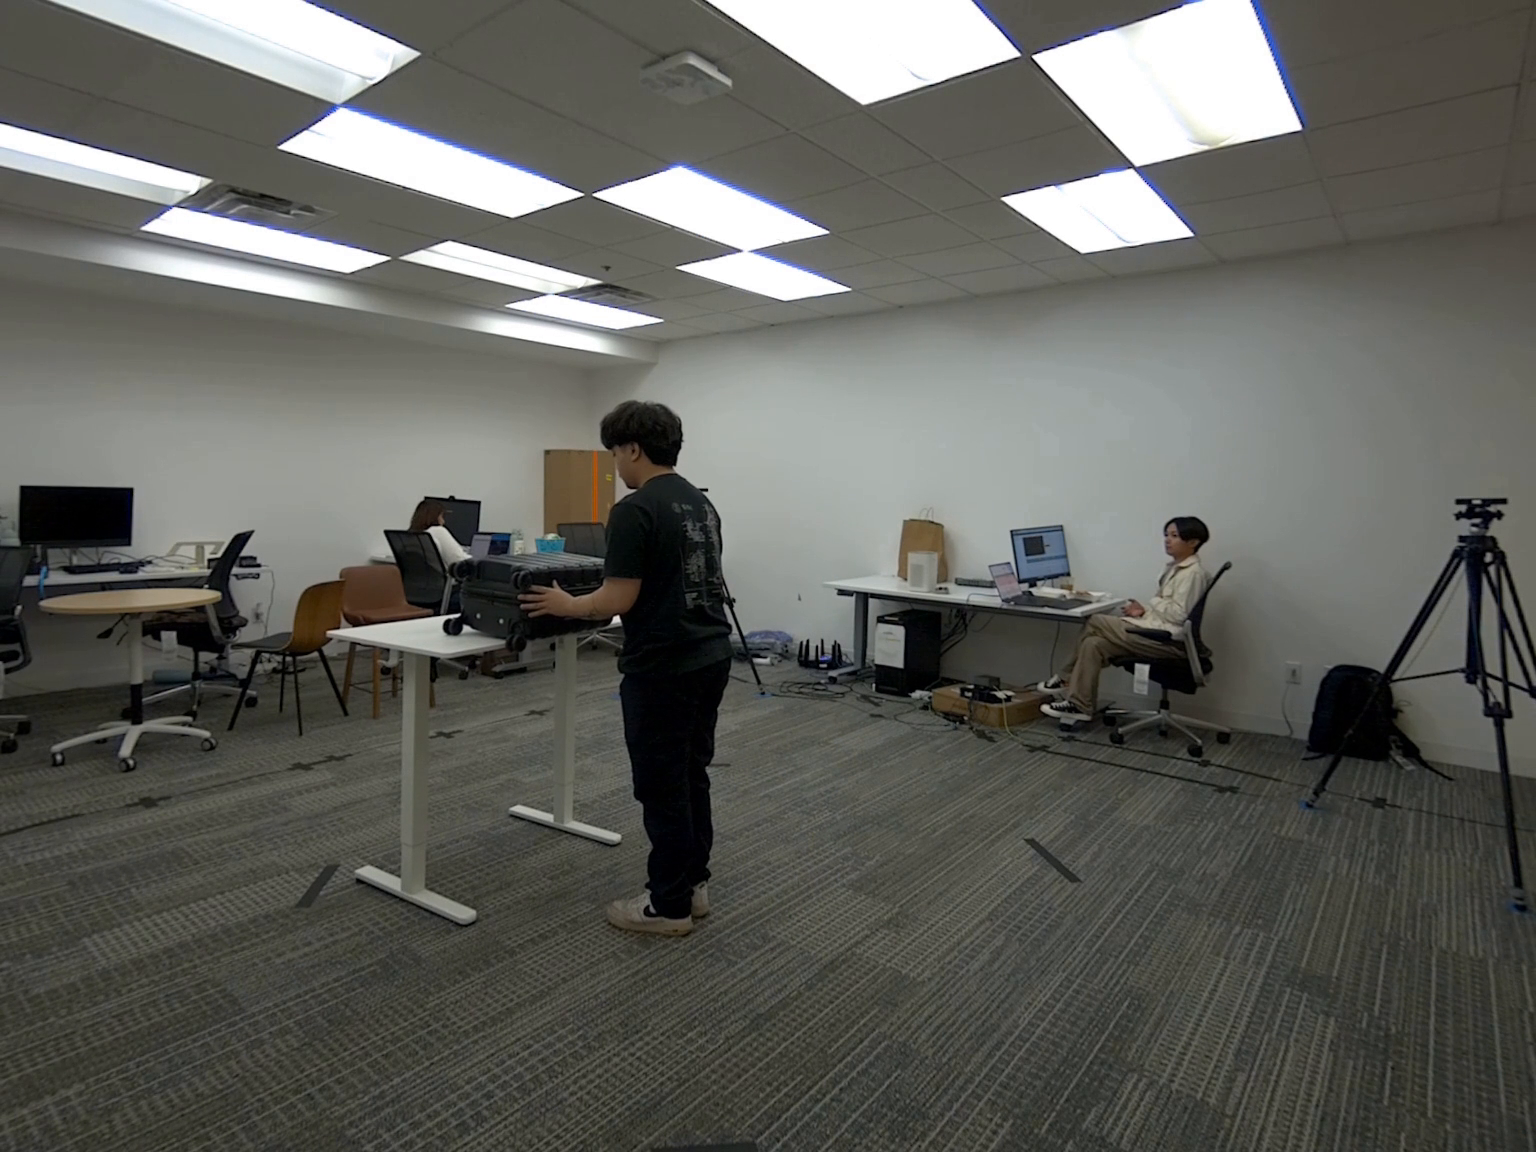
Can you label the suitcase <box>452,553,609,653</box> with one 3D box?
[{"bbox_3d":[-0.825,0.065,3.001,0.387,0.247,0.535,6,6,30],"label":"suitcase"}]
